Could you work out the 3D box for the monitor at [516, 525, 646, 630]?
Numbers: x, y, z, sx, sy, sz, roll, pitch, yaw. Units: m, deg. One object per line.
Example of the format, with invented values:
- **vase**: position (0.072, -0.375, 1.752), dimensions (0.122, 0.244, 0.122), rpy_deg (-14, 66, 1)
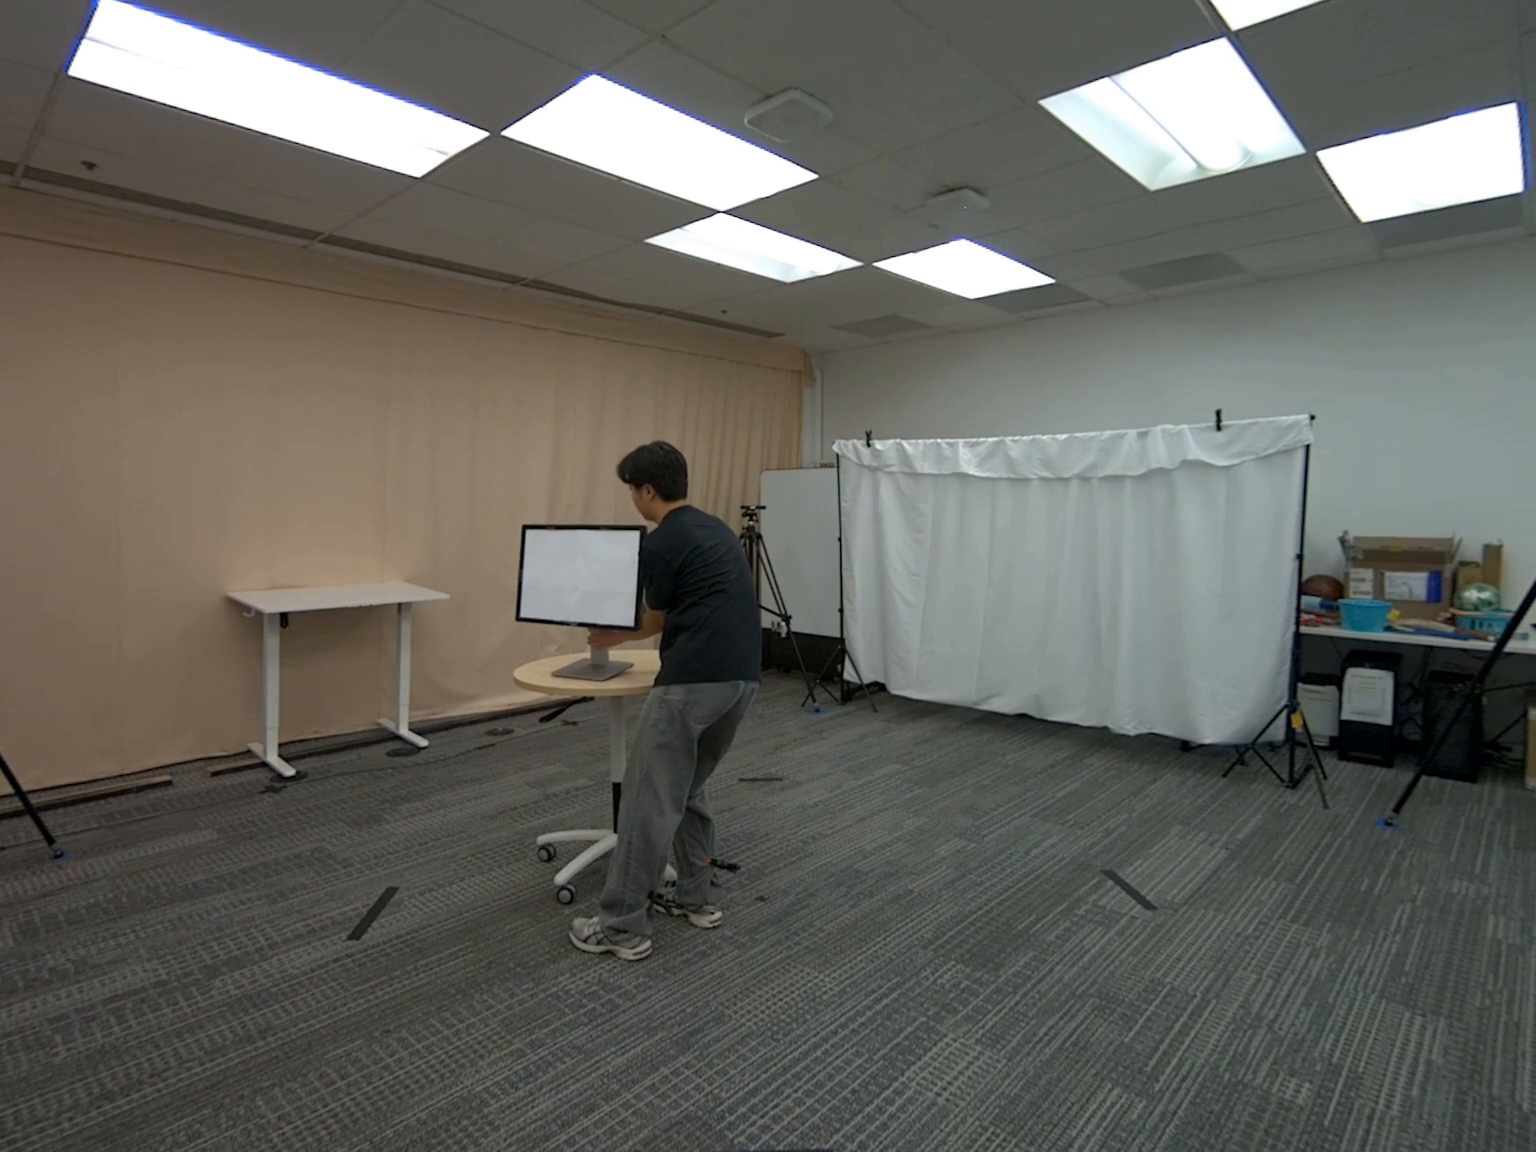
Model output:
- **monitor**: position (-0.656, 0.097, 3.058), dimensions (0.578, 0.562, 0.217), rpy_deg (2, 11, 31)
